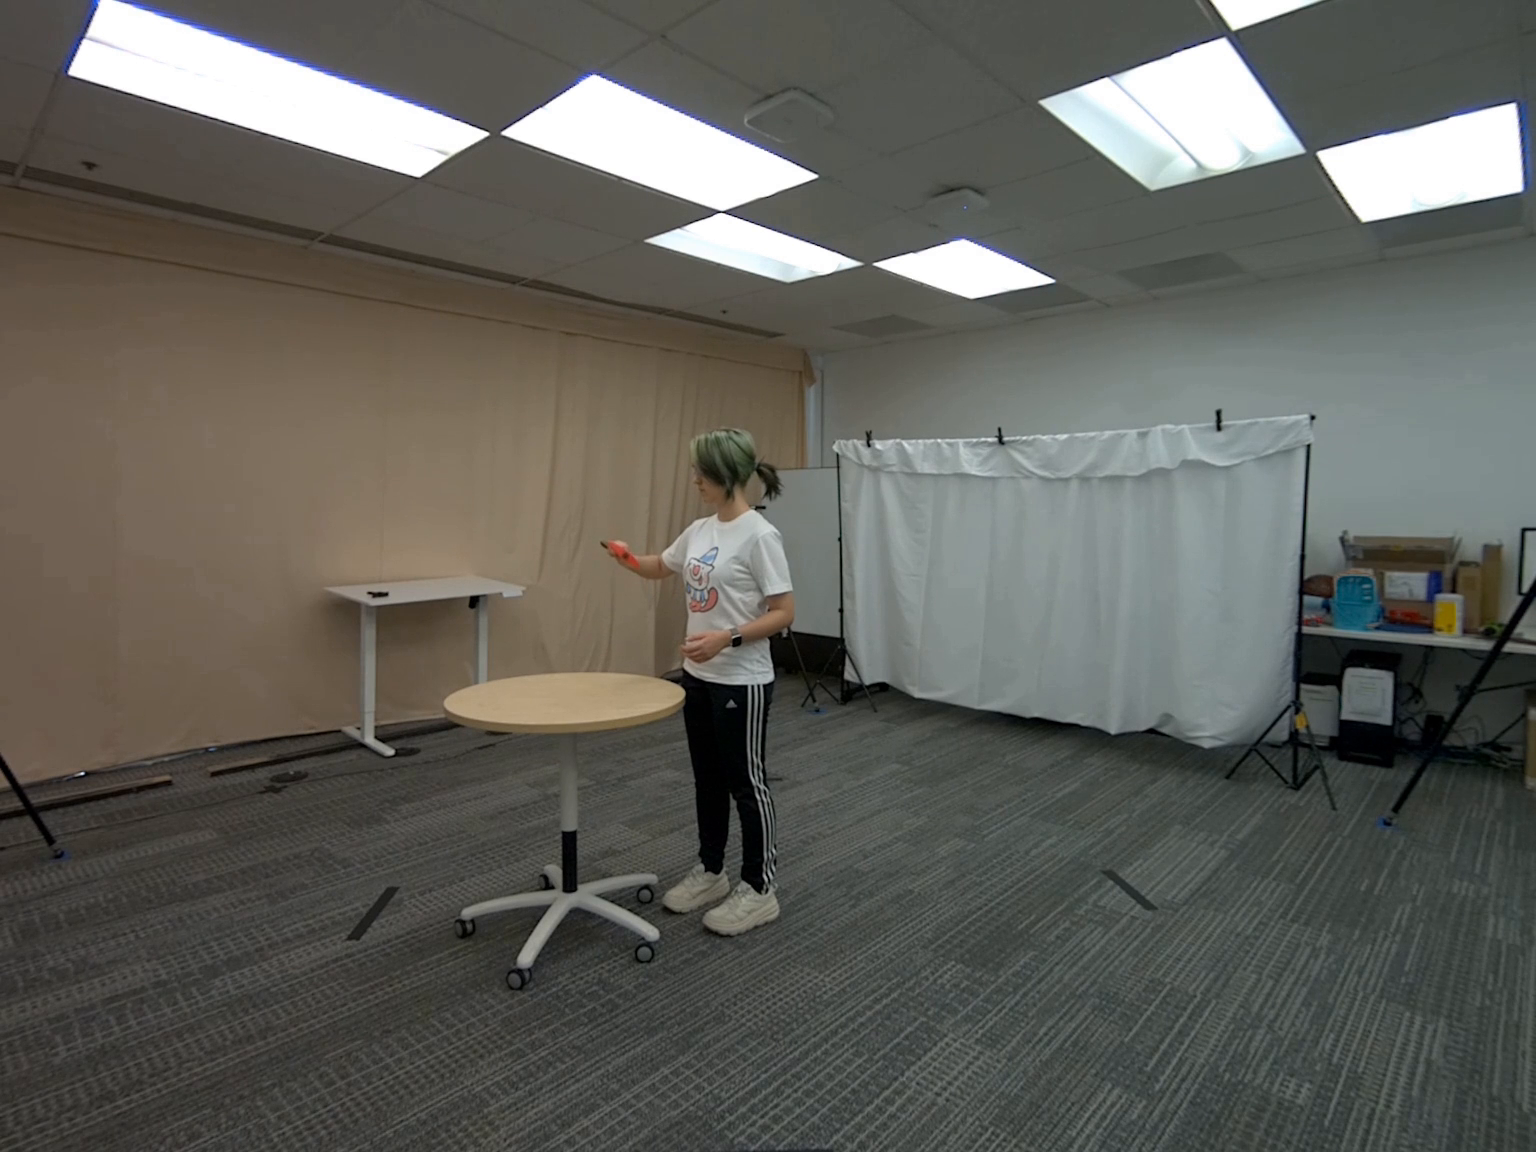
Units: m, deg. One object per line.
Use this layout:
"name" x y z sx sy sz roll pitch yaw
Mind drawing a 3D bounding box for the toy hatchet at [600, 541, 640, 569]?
"toy hatchet" -0.521 -0.099 2.834 0.127 0.029 0.279 41 -10 -35
